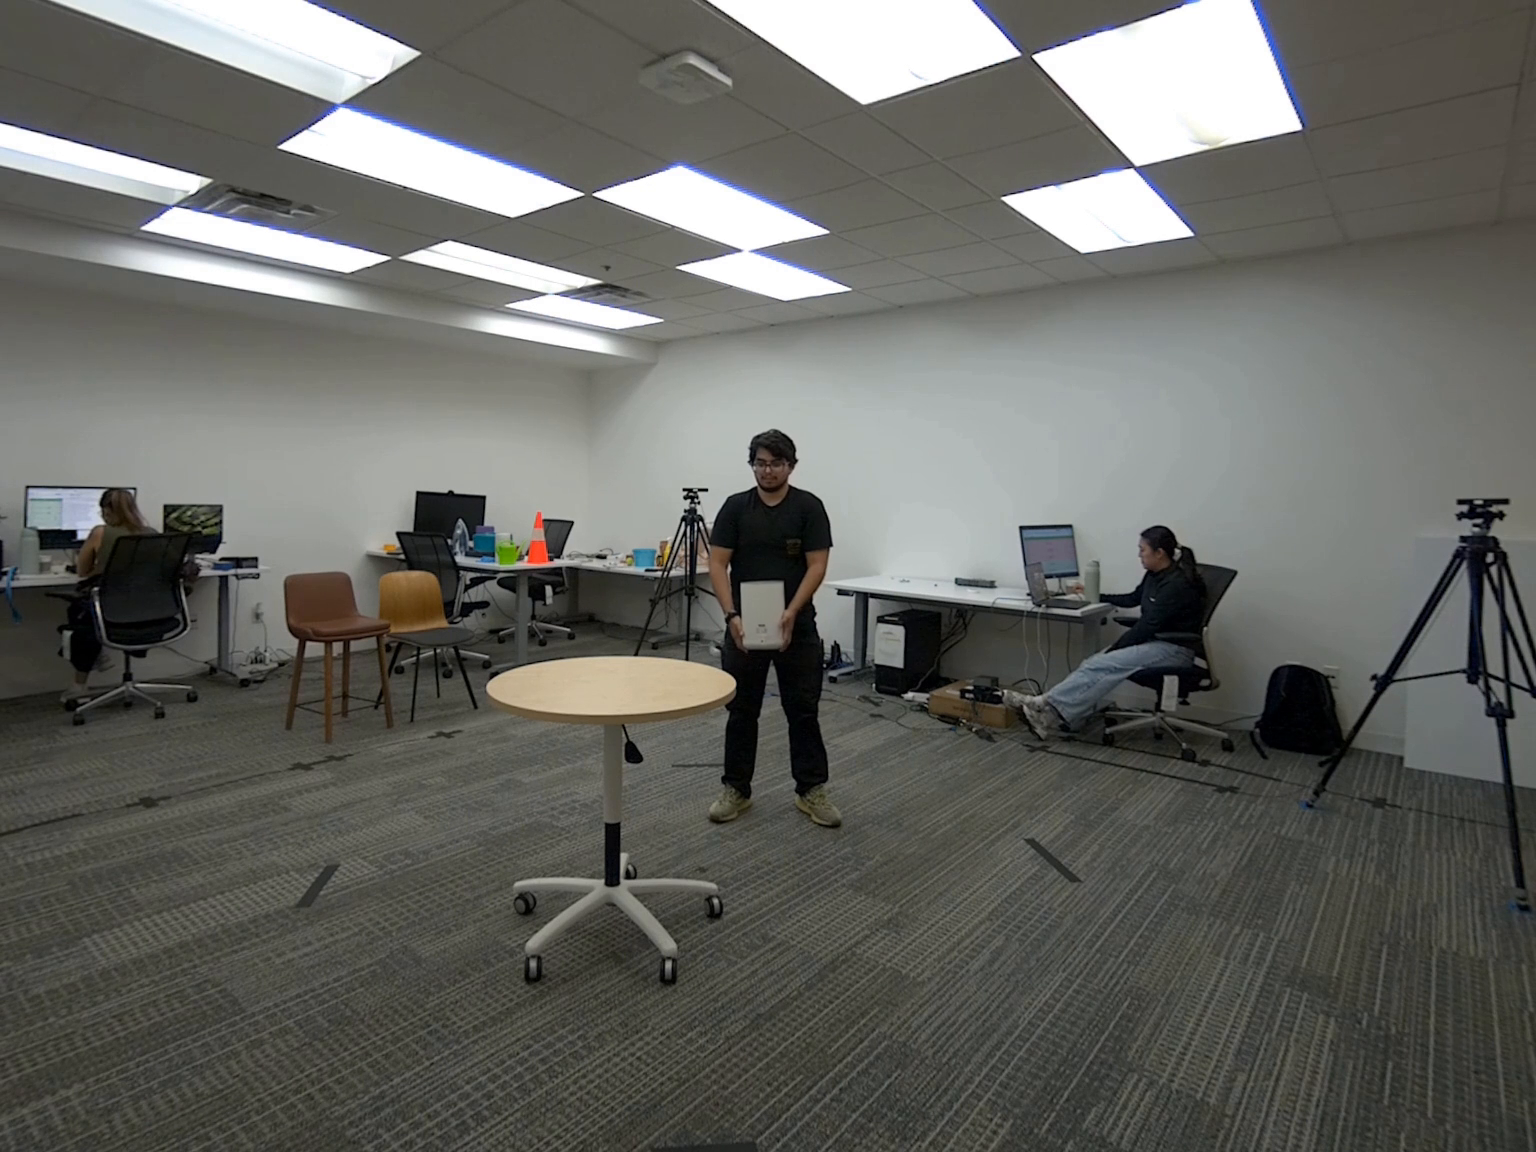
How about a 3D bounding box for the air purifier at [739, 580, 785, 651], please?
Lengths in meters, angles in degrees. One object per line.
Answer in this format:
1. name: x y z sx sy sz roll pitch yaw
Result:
1. air purifier: -0.029 0.151 3.420 0.170 0.263 0.171 -1 -2 9
